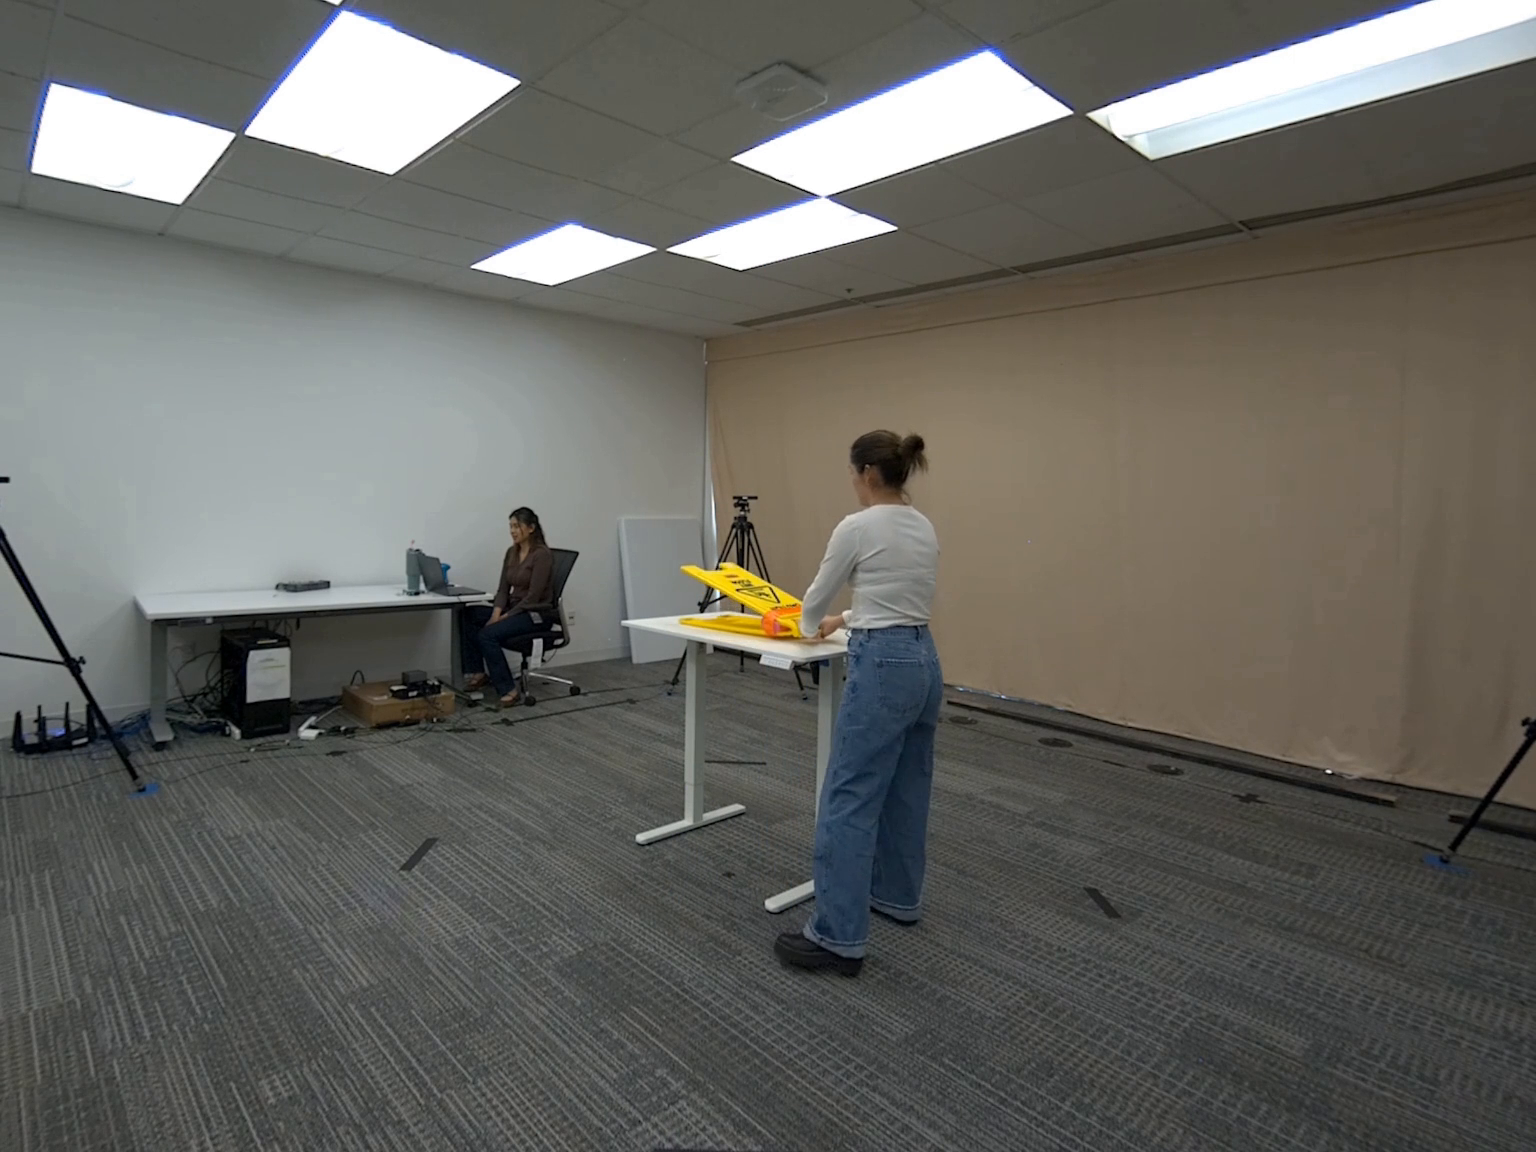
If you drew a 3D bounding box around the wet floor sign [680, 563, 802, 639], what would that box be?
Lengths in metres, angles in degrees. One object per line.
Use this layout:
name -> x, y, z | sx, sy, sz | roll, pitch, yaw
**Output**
wet floor sign -> -0.037, 0.142, 3.215 | 0.276, 0.288, 0.665 | -4, 13, -41
